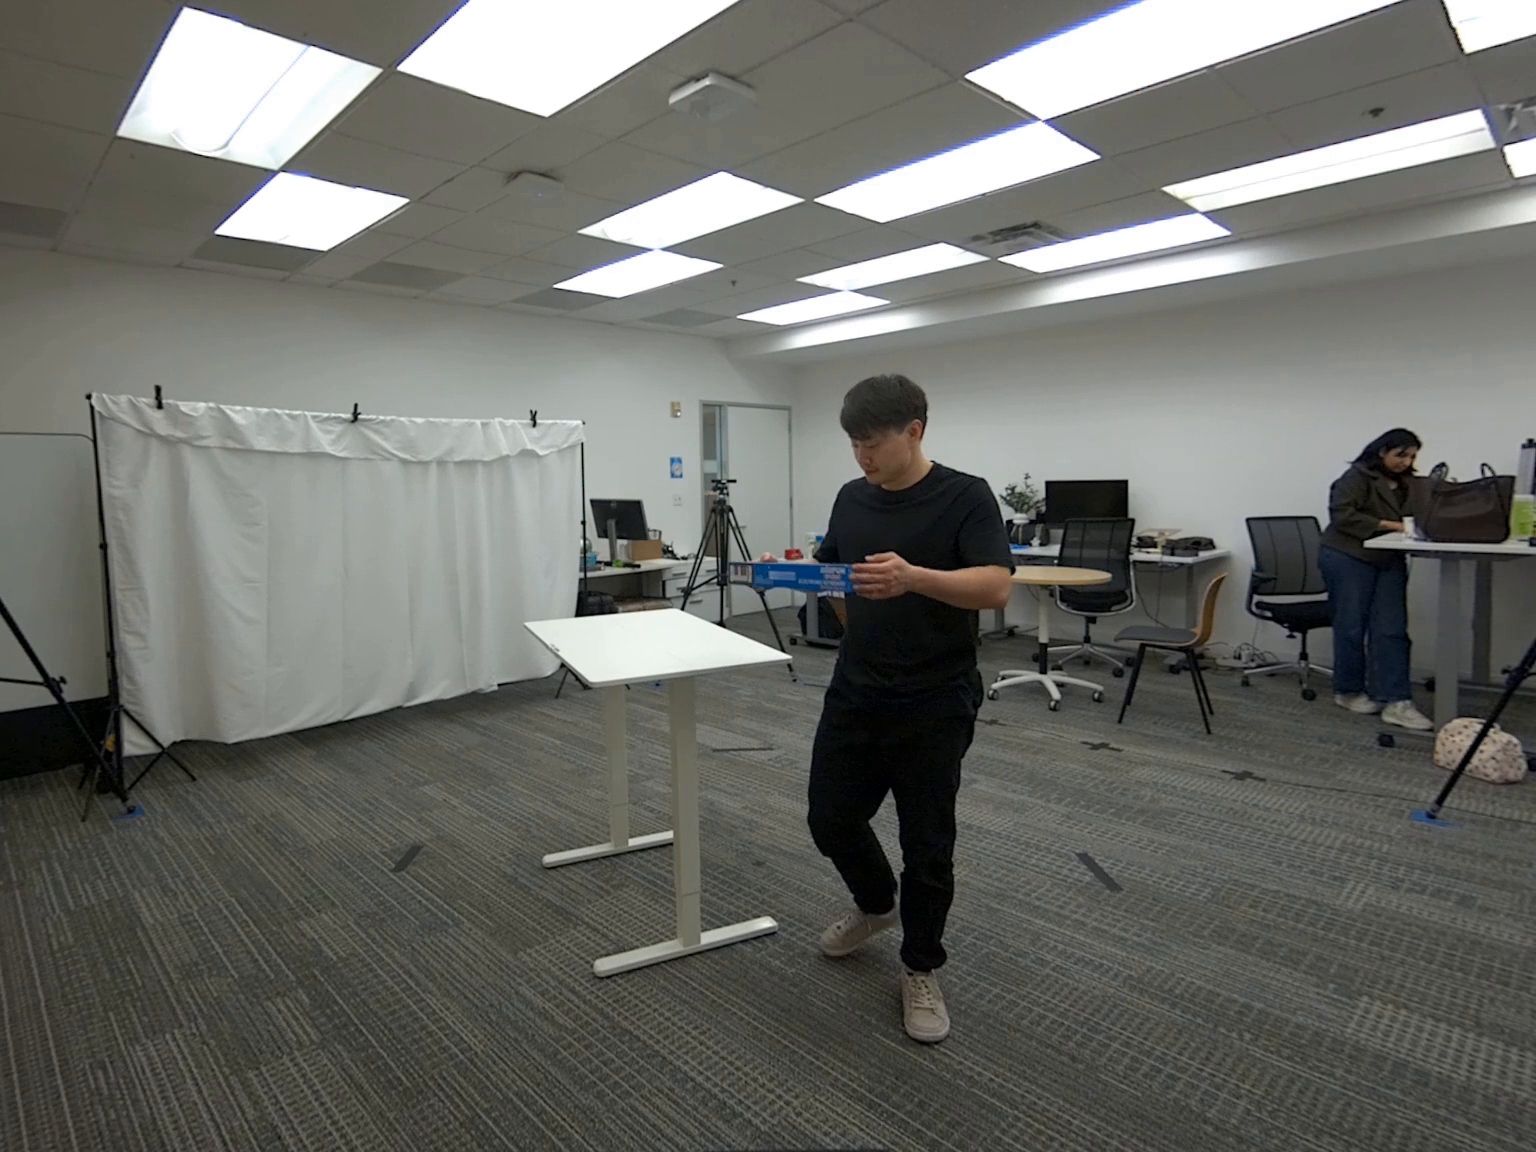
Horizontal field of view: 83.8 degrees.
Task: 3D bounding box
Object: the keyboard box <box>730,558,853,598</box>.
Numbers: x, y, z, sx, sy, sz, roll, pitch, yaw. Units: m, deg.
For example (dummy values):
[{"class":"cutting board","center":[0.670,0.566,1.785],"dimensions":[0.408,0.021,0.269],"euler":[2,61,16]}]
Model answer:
[{"class":"keyboard box","center":[0.120,-0.004,2.054],"dimensions":[0.171,0.059,0.449],"euler":[3,0,-36]}]
